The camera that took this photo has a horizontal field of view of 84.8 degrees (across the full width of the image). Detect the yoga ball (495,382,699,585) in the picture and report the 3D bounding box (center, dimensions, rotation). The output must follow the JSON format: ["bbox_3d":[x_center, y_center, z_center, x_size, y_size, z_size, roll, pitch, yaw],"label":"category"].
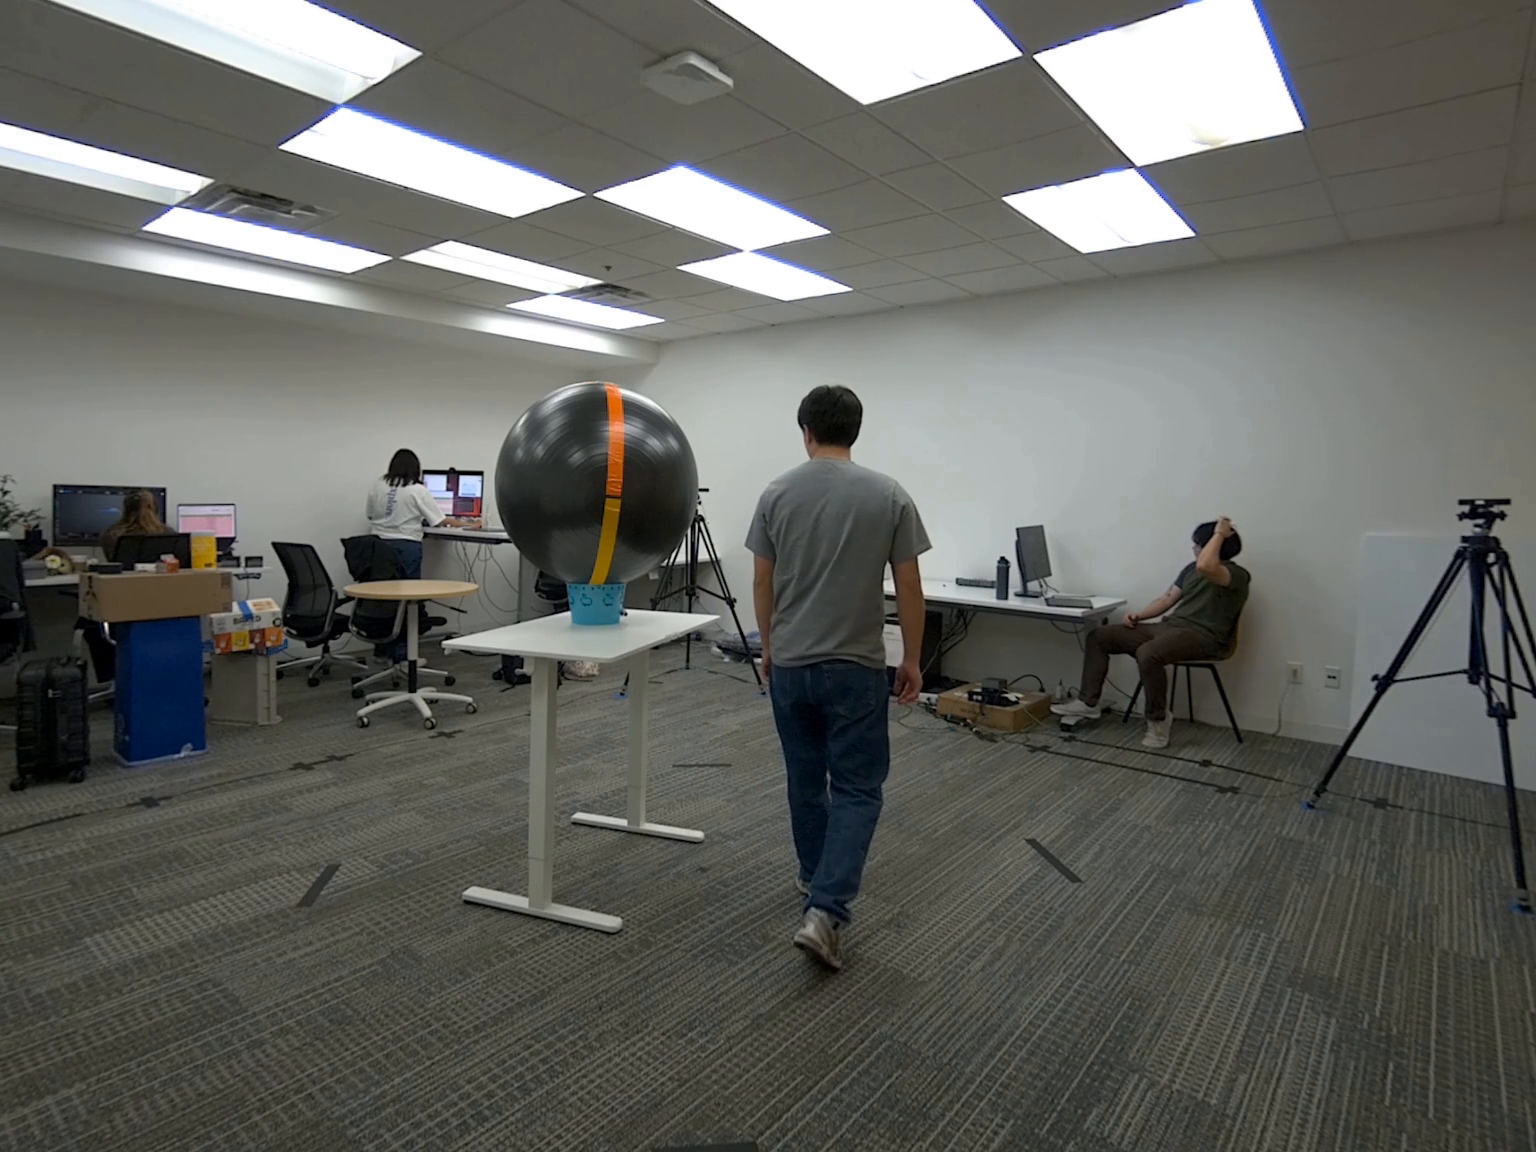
[{"bbox_3d":[-0.655,-0.338,3.188,0.757,0.755,0.762,1,4,-2],"label":"yoga ball"}]
